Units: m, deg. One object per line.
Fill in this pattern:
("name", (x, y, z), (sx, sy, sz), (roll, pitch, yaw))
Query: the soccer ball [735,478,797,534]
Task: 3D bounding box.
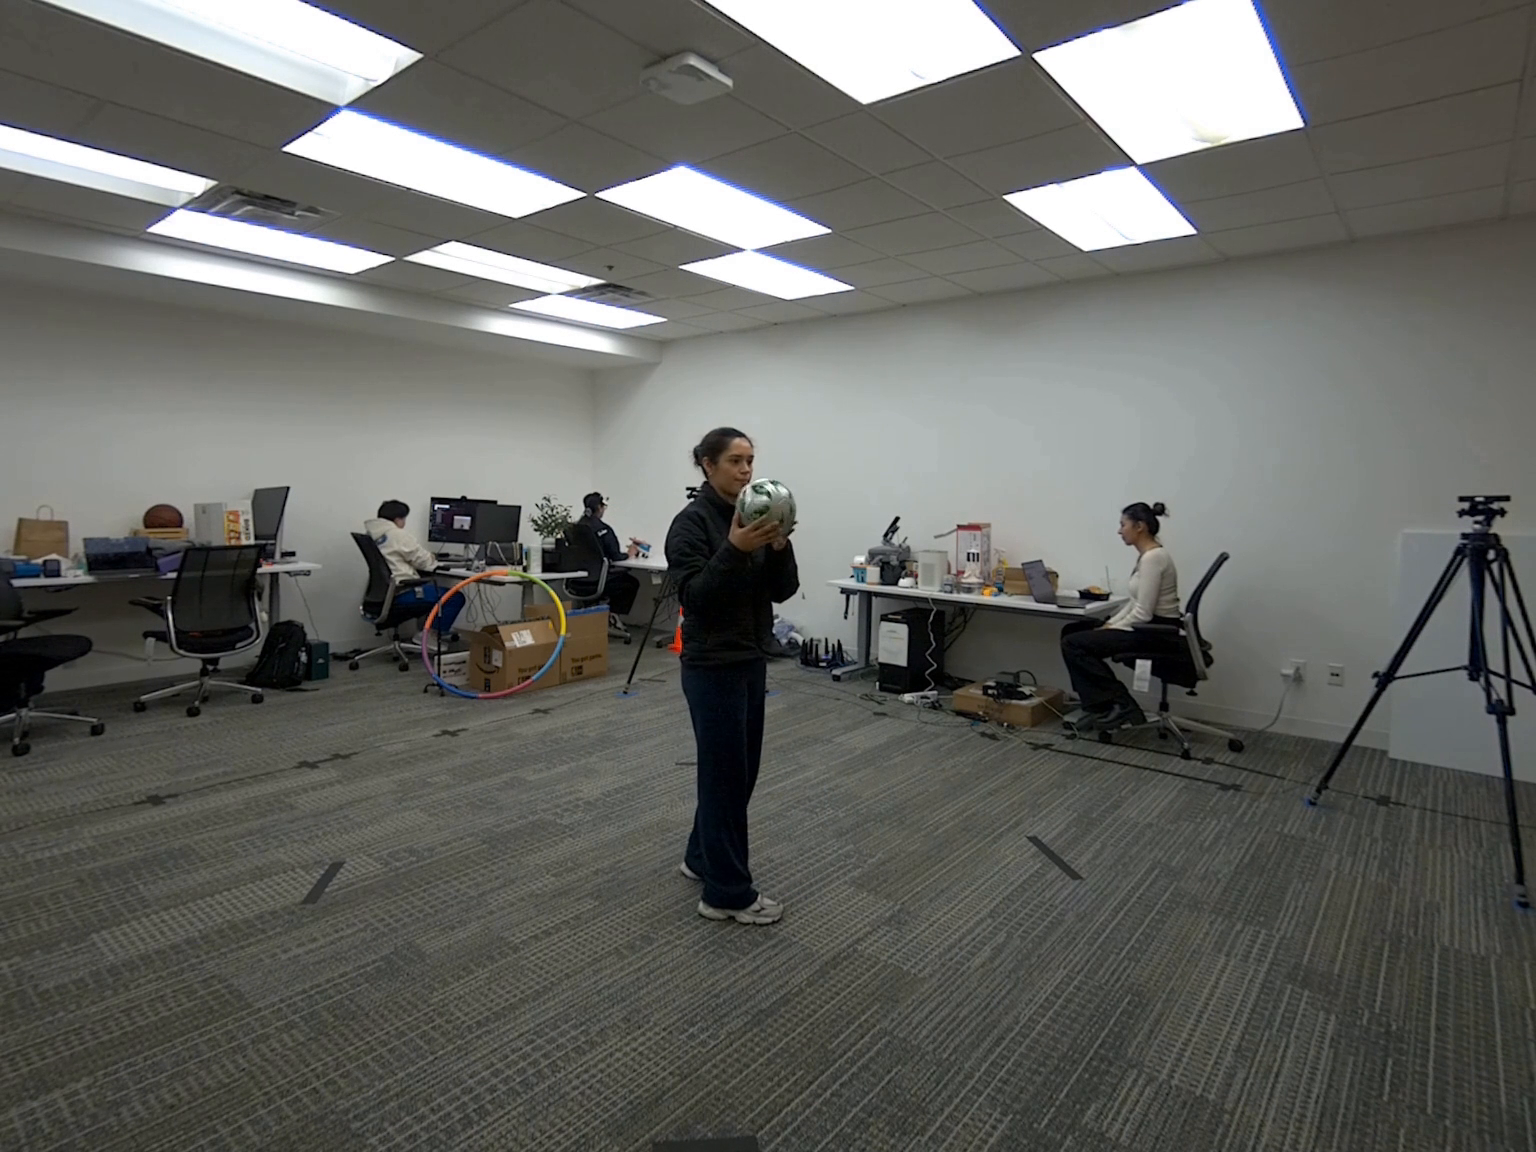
("soccer ball", (-0.018, -0.200, 2.614), (0.187, 0.187, 0.188), (1, 4, -2))
